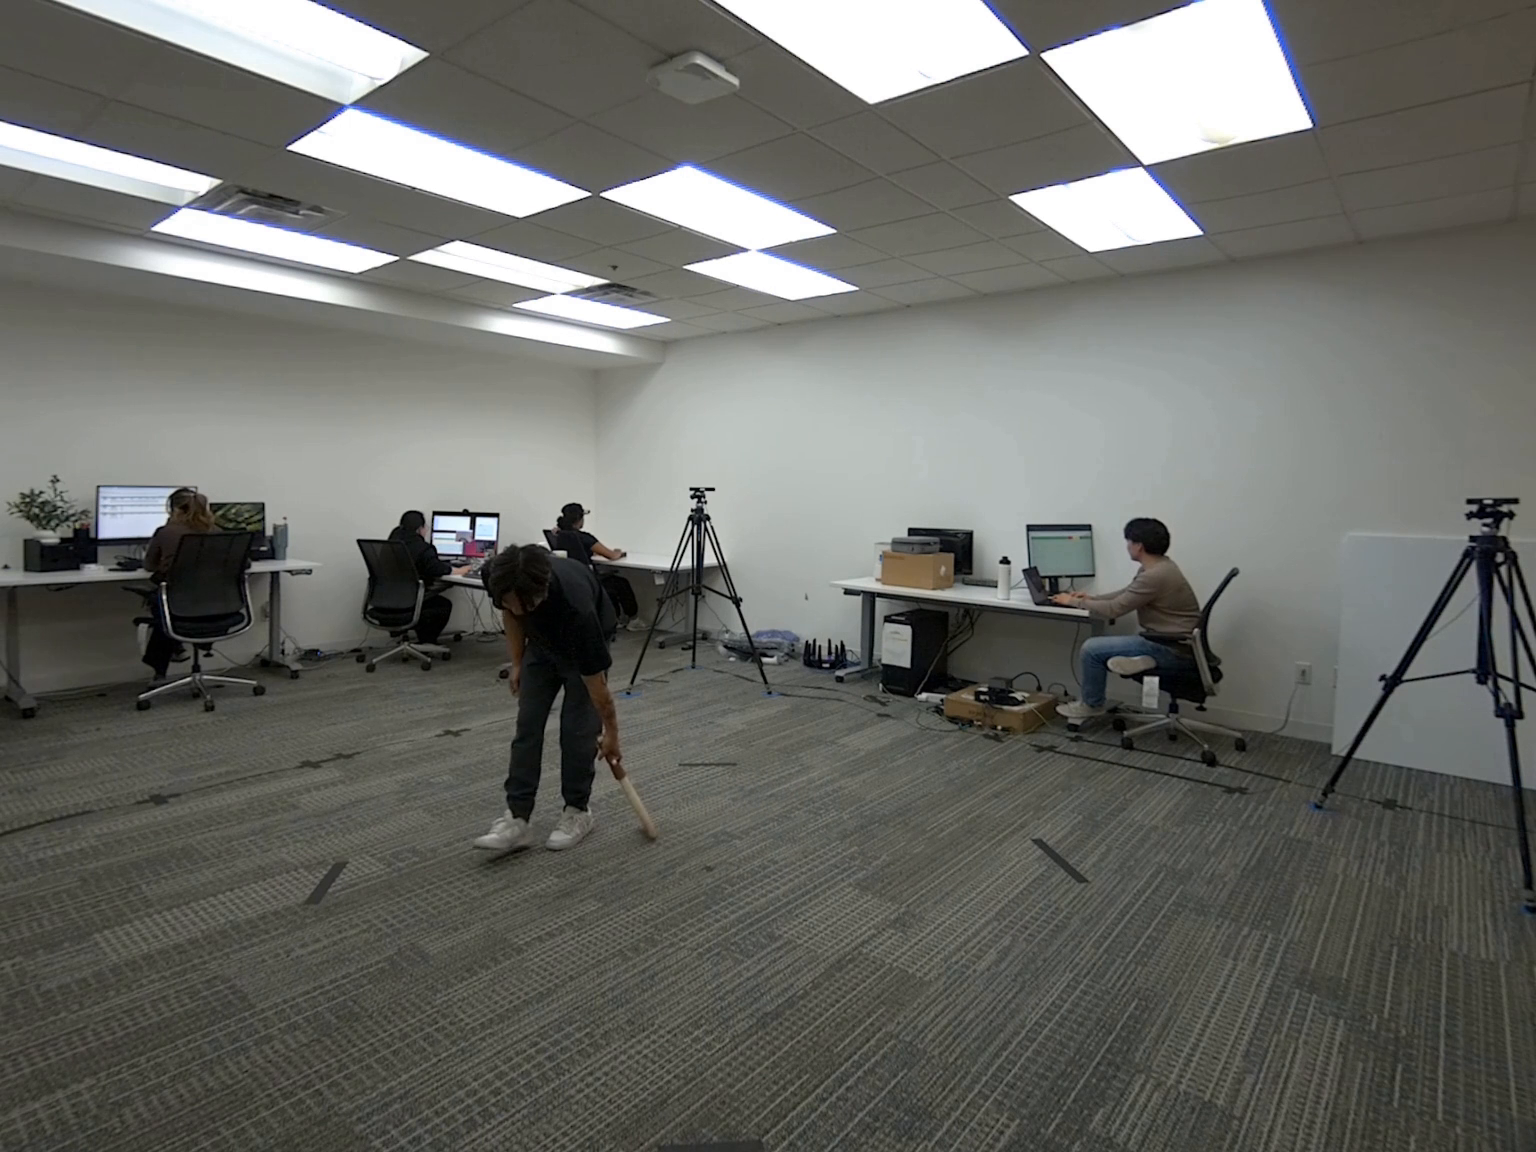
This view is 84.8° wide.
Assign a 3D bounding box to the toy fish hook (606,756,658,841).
[{"bbox_3d":[-0.586,0.825,3.353,0.048,0.496,0.231,-32,19,-23],"label":"toy fish hook"}]
